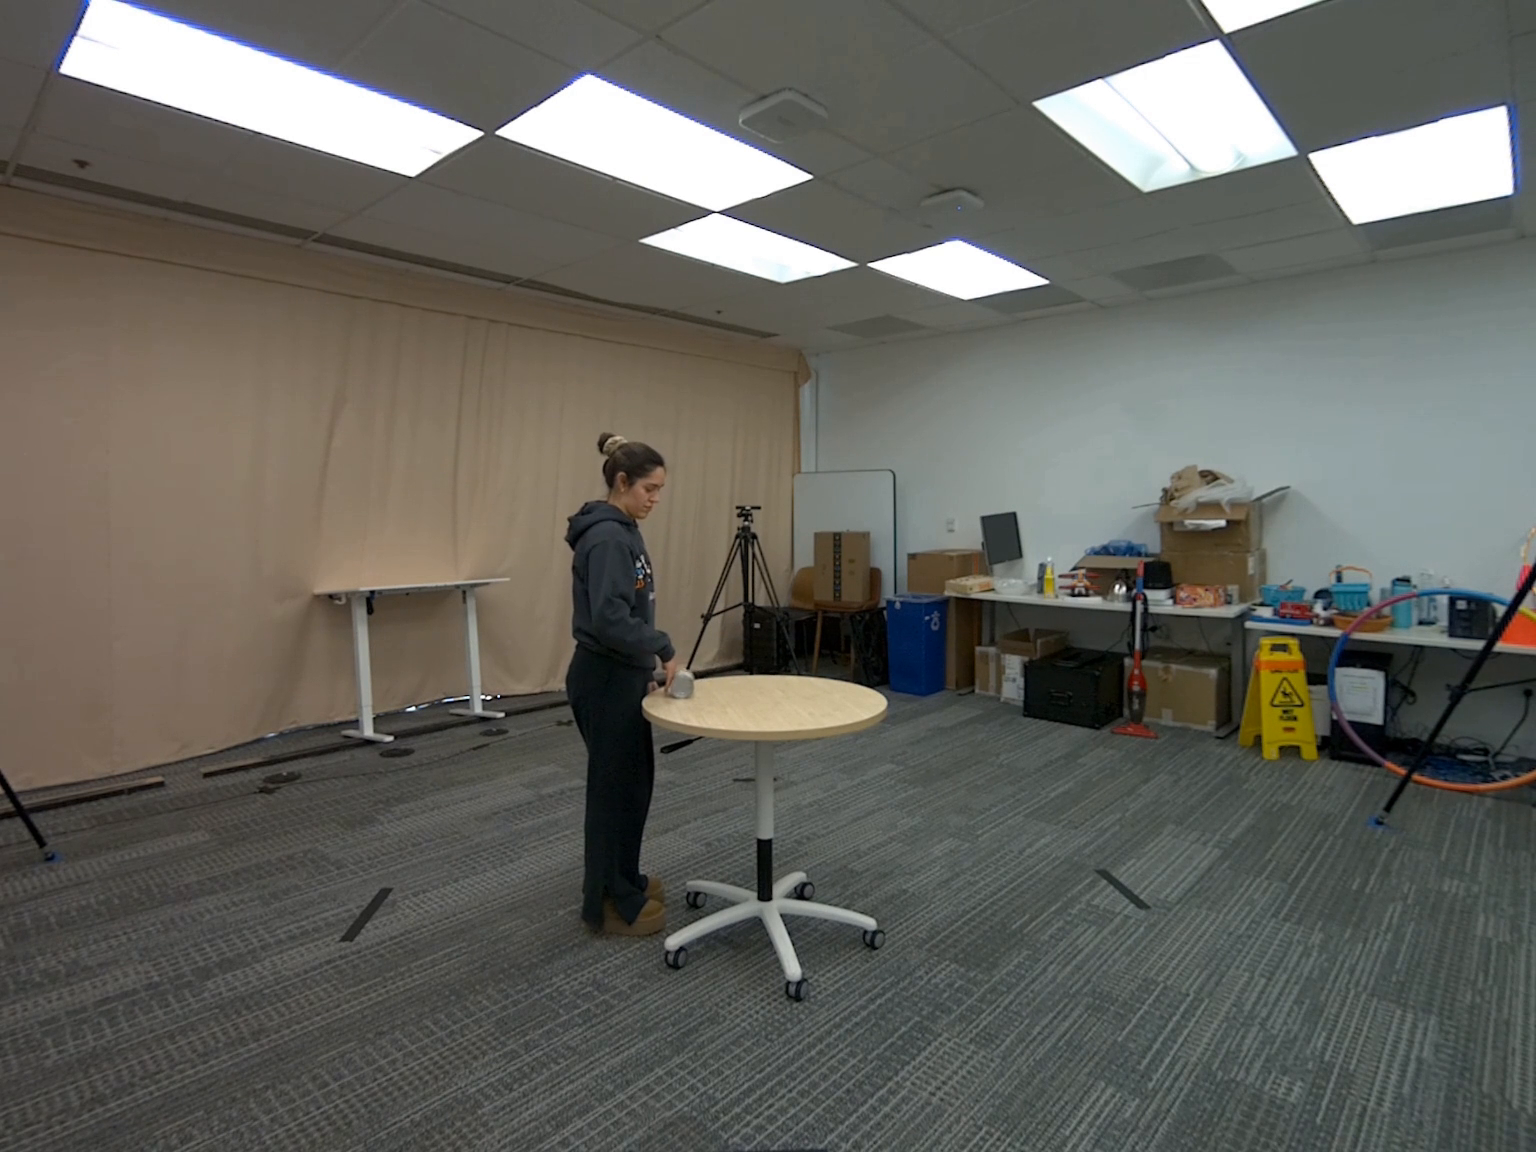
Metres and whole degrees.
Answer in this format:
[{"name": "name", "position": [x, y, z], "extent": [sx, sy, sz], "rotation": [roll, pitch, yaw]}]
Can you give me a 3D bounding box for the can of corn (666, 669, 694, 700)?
[{"name": "can of corn", "position": [-0.258, 0.353, 2.716], "extent": [0.074, 0.074, 0.111], "rotation": [0, 1, 1]}]
